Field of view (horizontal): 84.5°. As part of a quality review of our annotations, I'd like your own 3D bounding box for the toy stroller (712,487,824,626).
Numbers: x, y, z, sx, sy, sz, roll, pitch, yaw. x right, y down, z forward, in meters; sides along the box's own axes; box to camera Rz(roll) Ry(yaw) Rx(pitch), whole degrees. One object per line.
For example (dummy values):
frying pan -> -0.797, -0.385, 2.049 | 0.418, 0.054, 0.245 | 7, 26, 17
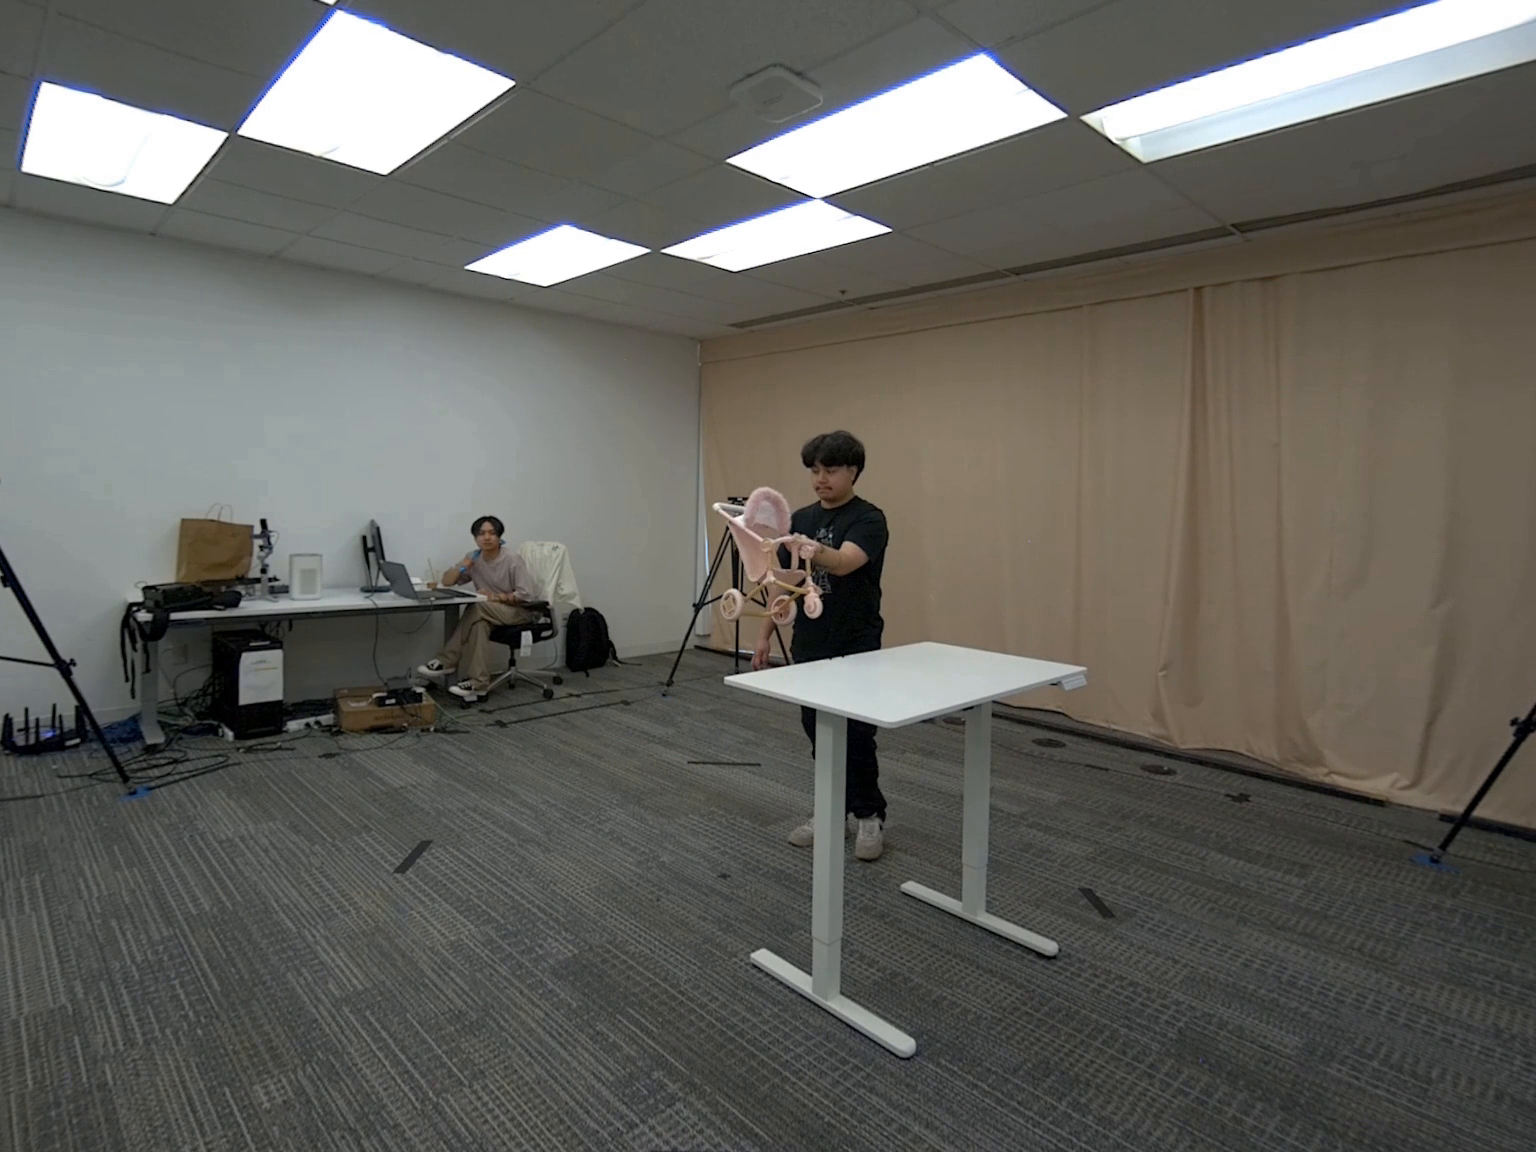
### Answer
toy stroller -> 0.004, -0.068, 2.872 | 0.274, 0.544, 0.344 | 8, -26, -38
